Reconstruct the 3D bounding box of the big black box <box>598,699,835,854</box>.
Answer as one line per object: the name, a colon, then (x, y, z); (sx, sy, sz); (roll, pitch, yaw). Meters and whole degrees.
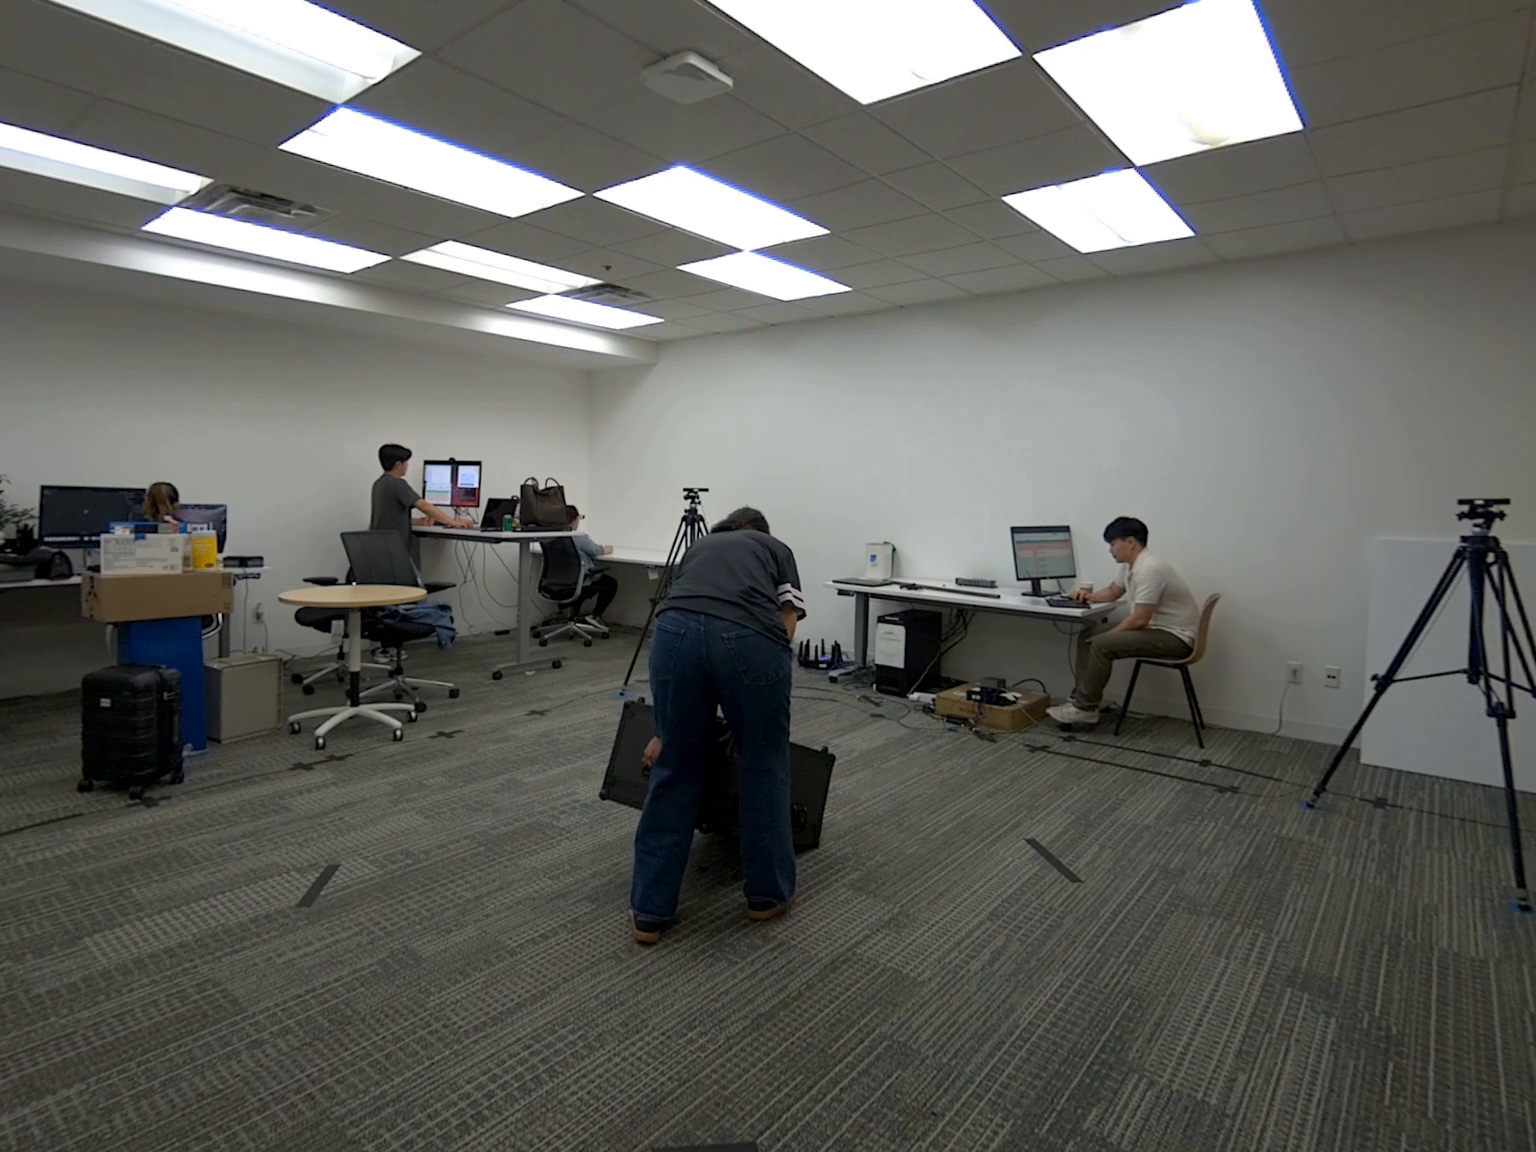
big black box: (-0.161, 0.760, 3.256); (0.540, 0.389, 0.833); (2, -18, 36)
